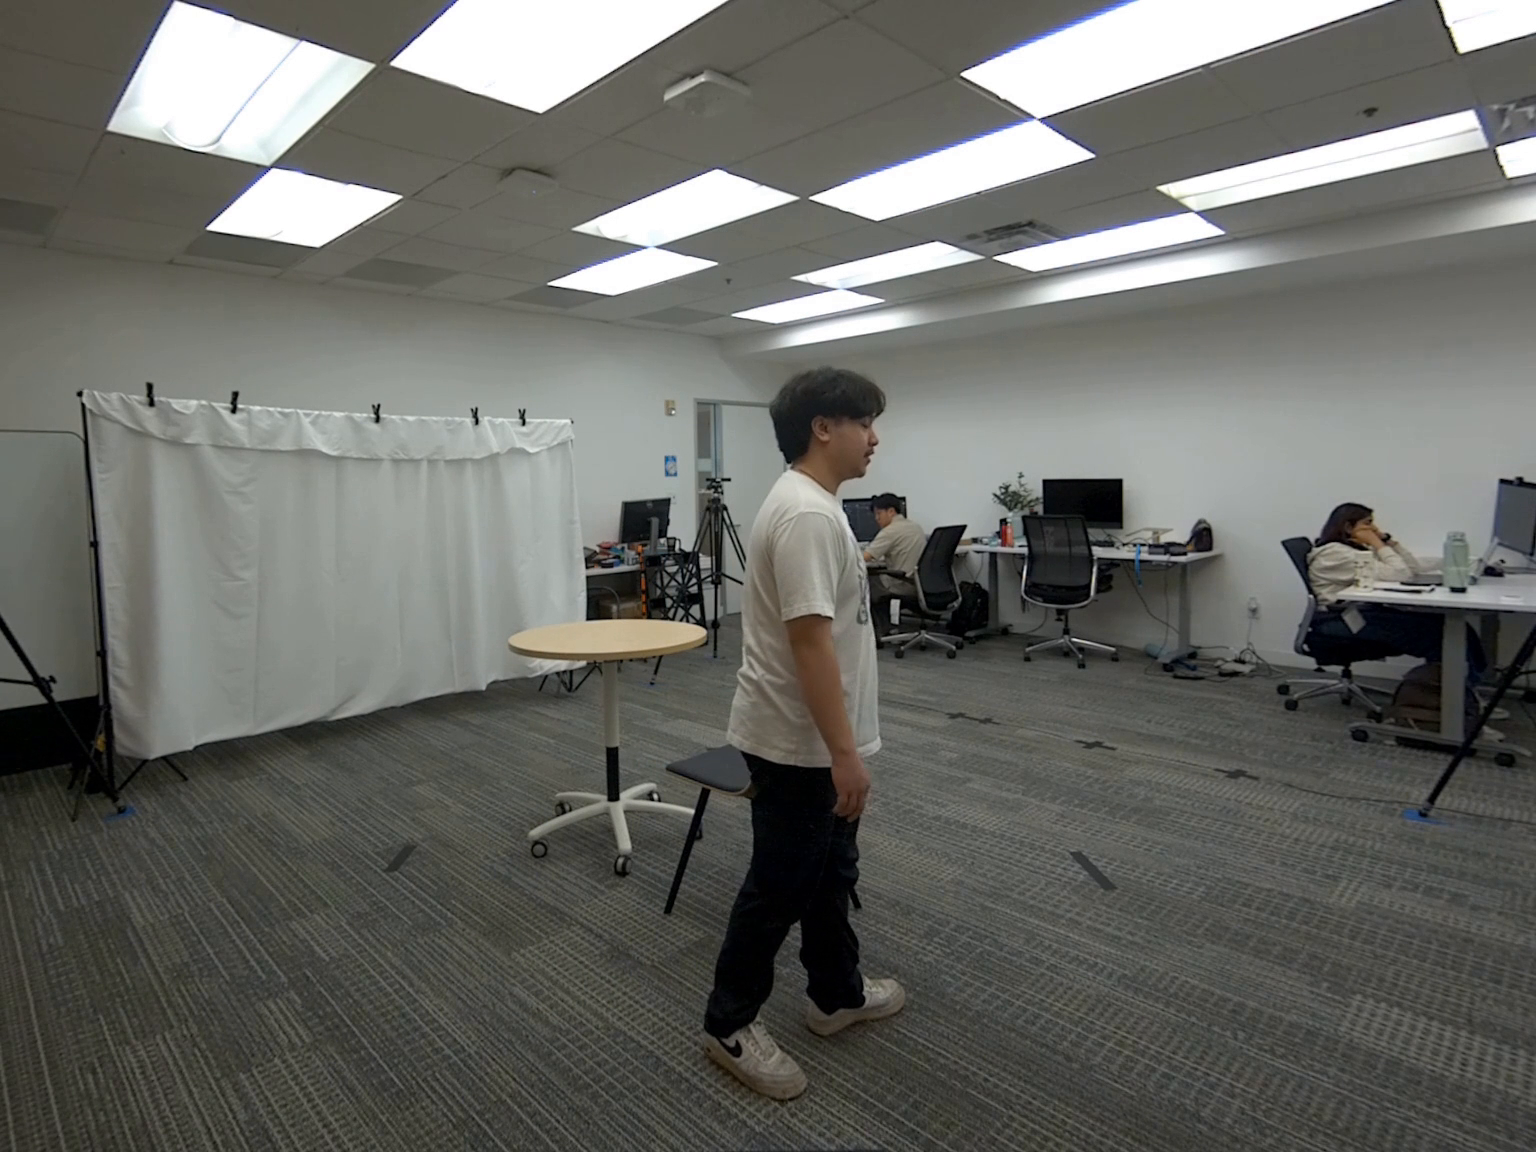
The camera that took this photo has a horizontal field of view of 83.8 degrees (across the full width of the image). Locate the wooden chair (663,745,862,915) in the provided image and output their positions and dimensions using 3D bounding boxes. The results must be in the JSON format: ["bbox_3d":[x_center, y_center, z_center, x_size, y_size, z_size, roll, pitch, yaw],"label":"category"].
[{"bbox_3d":[-0.024,0.658,2.732,0.540,0.872,0.466,9,10,41],"label":"wooden chair"}]
